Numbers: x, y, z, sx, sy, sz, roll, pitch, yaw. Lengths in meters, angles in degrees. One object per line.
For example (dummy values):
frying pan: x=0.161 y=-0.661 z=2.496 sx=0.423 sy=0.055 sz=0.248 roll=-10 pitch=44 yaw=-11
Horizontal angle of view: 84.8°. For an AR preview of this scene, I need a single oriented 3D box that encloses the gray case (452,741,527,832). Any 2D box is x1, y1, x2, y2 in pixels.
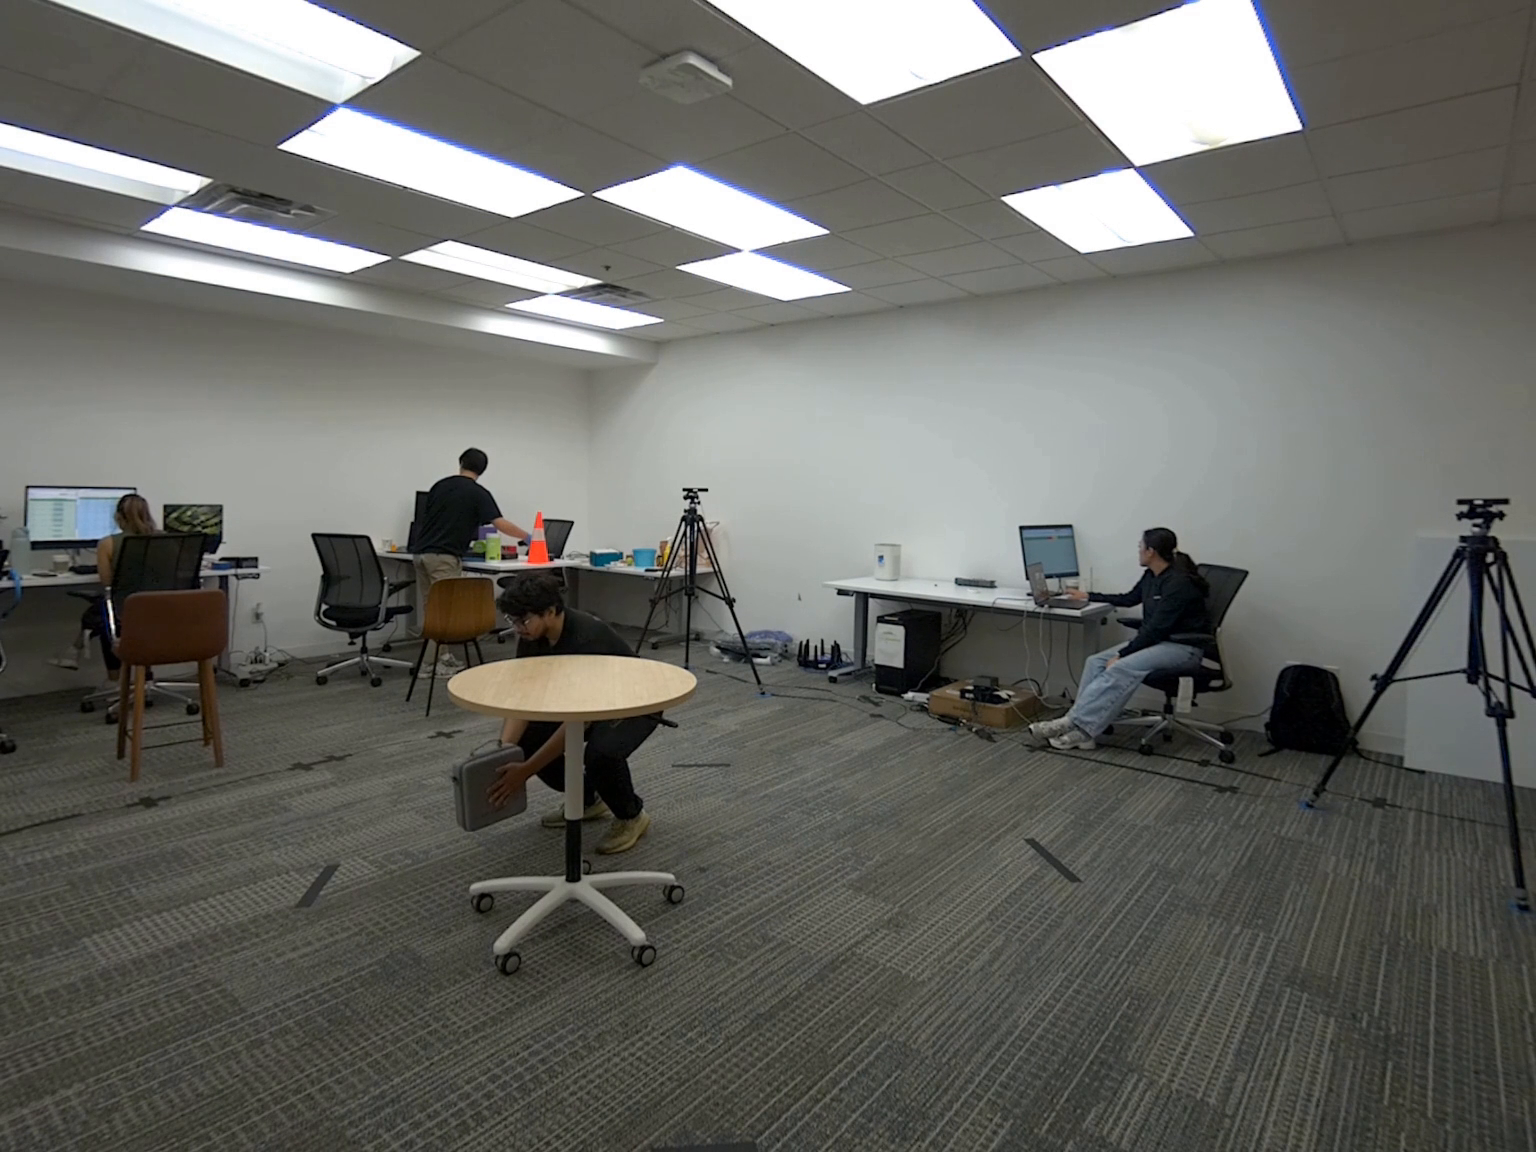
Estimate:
gray case: x=-1.023 y=0.751 z=3.073 sx=0.108 sy=0.259 sz=0.250 roll=1 pitch=7 yaw=43
